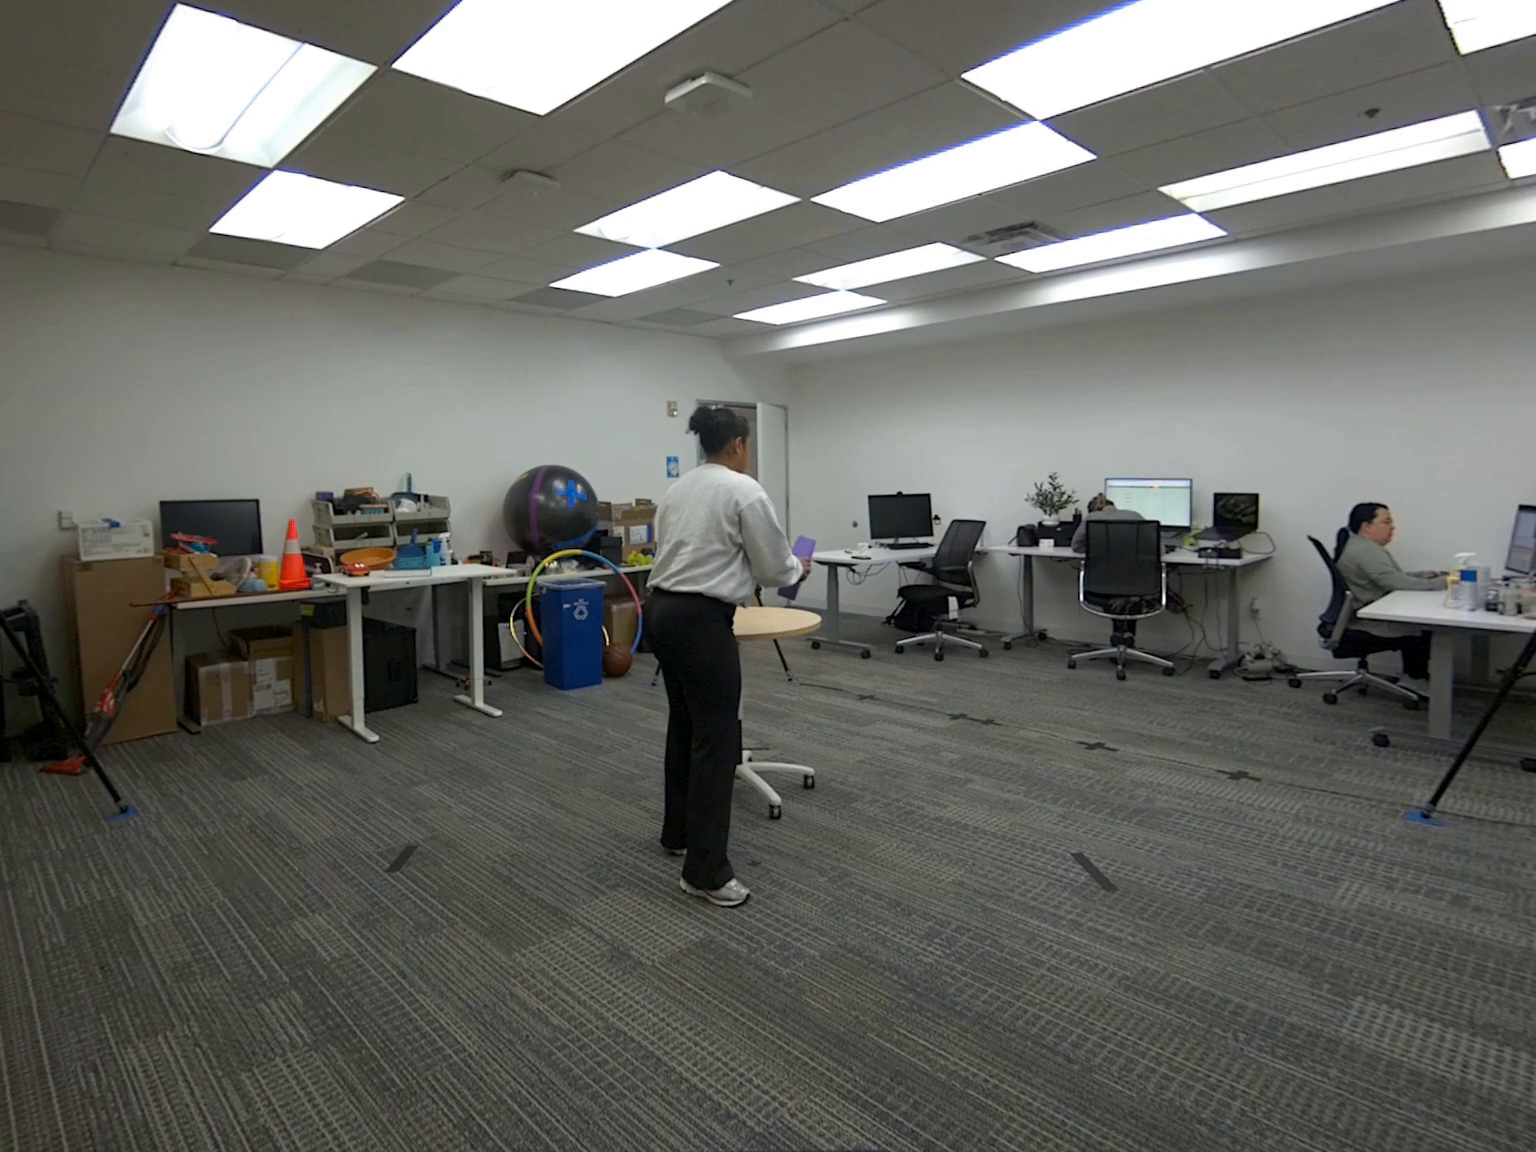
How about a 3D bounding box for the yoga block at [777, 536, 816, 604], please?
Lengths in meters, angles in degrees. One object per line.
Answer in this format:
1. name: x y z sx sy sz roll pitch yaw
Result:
1. yoga block: 0.116 -0.013 3.354 0.077 0.145 0.231 17 44 10
